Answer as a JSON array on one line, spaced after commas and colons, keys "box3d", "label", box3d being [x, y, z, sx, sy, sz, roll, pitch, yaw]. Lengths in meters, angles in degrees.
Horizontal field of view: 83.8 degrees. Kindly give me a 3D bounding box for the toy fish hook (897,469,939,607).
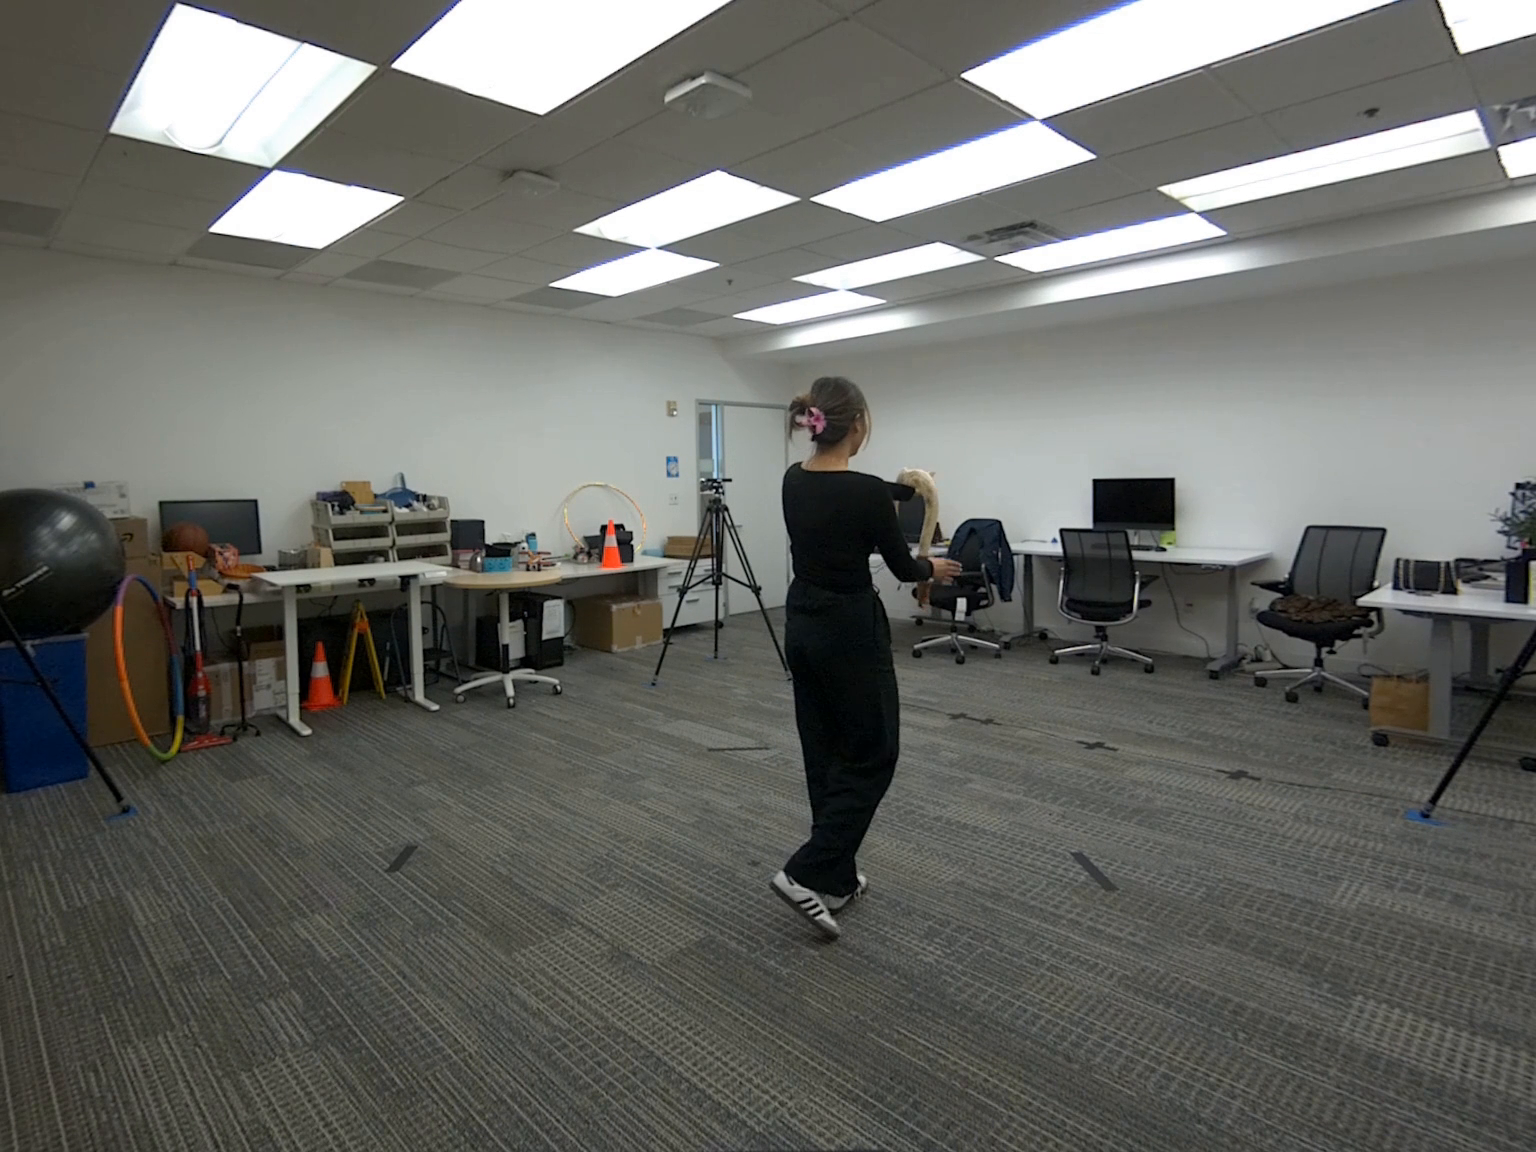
[{"box3d": [0.516, -0.132, 3.112, 0.047, 0.500, 0.232, -8, 16, -33], "label": "toy fish hook"}]
